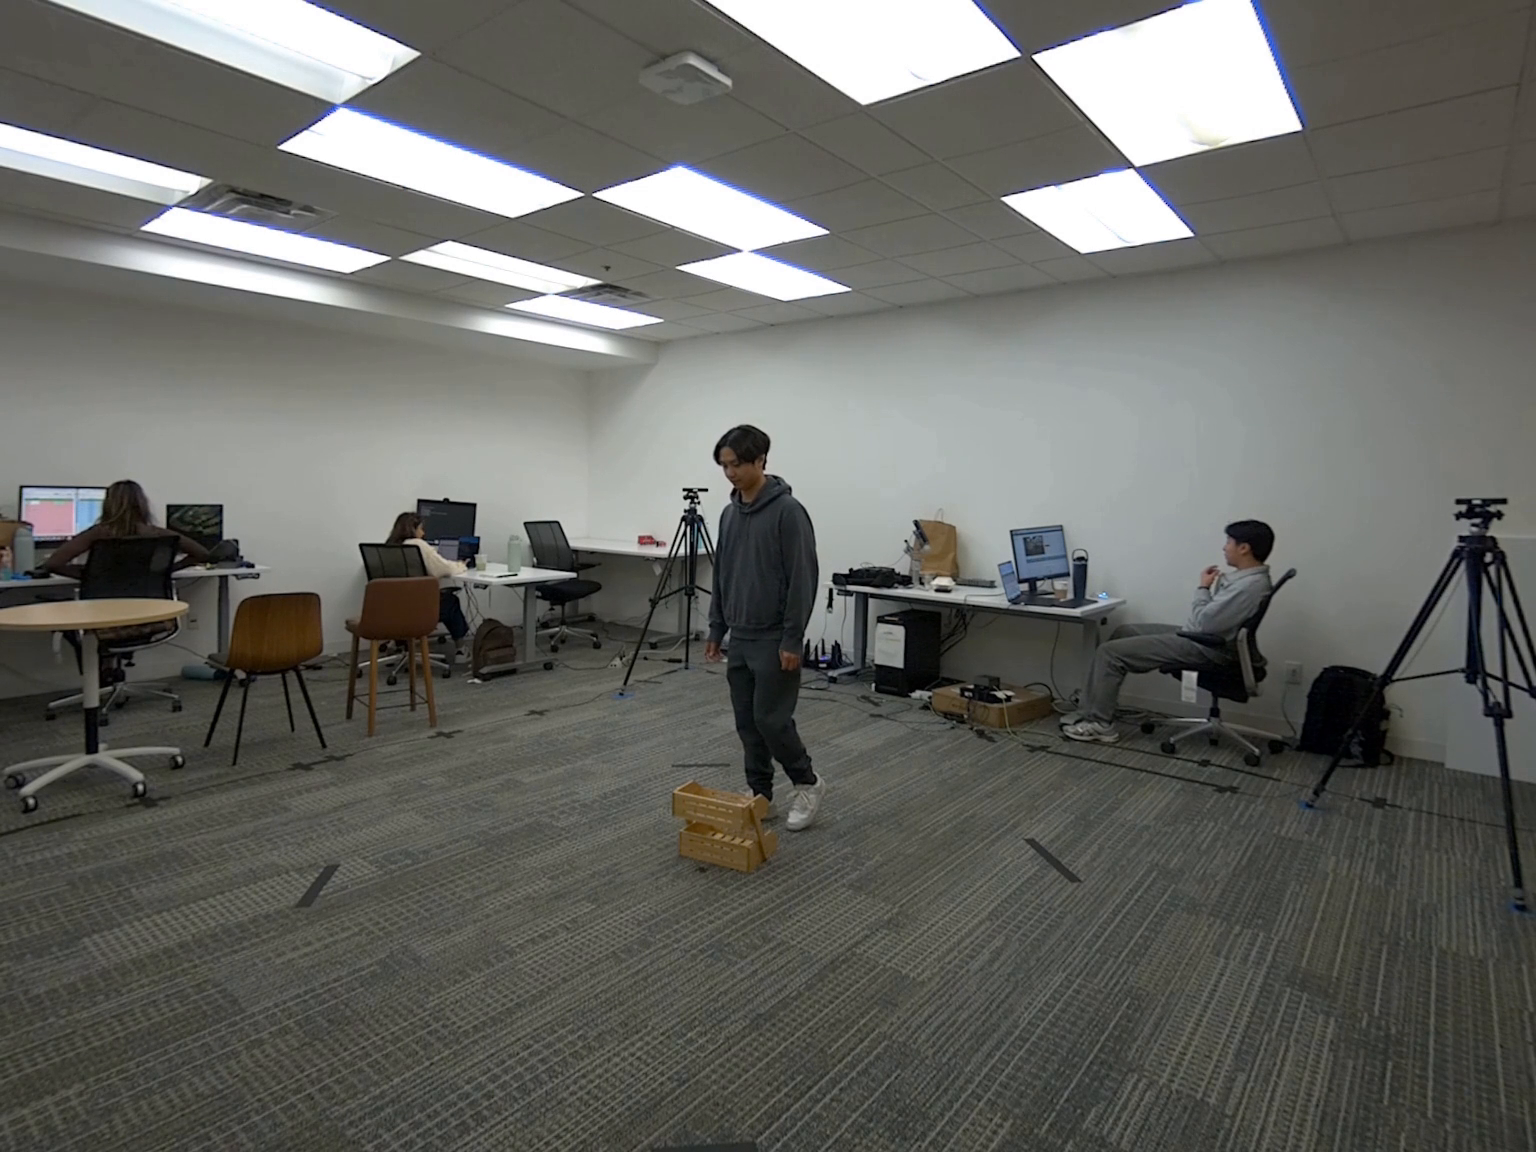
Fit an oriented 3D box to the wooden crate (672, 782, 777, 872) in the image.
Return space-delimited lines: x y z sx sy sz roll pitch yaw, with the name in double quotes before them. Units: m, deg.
"wooden crate" -0.171 0.925 3.236 0.333 0.272 0.295 3 5 27
